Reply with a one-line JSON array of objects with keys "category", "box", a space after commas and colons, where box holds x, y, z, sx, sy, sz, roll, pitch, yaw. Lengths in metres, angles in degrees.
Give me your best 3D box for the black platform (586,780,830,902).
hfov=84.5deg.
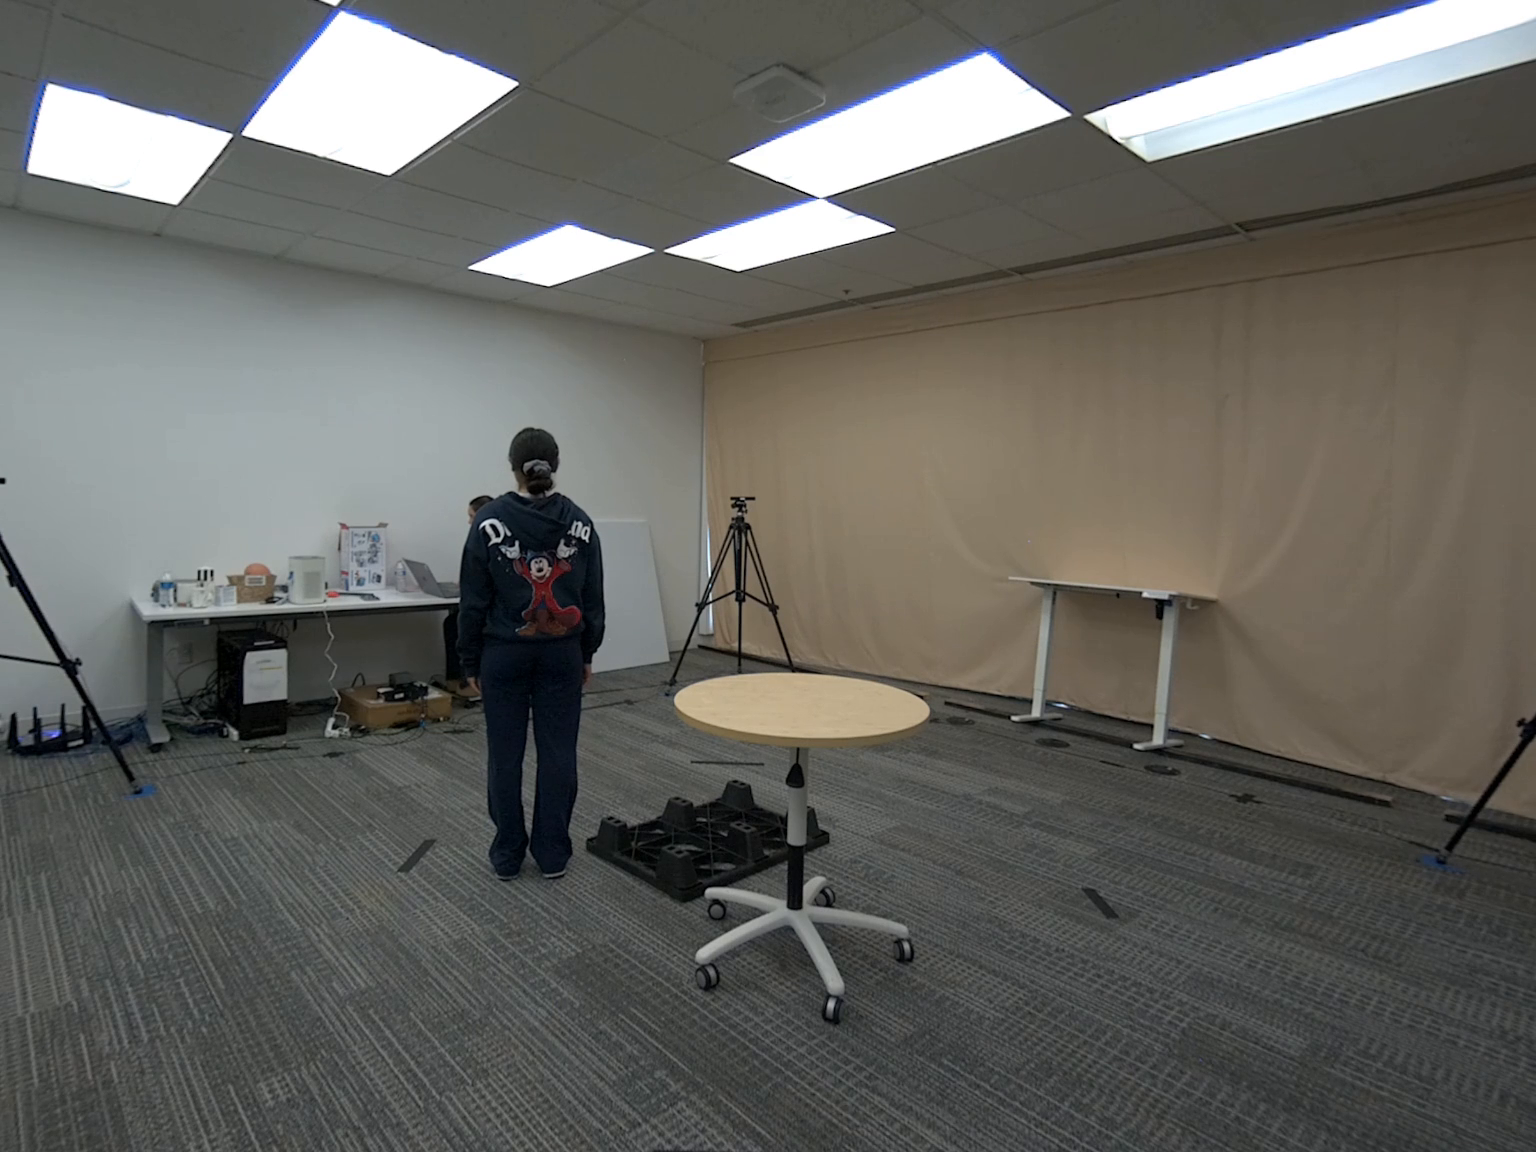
[{"category": "black platform", "box": [-0.237, 1.016, 3.360, 0.620, 0.143, 0.787, 6, 7, 44]}]
